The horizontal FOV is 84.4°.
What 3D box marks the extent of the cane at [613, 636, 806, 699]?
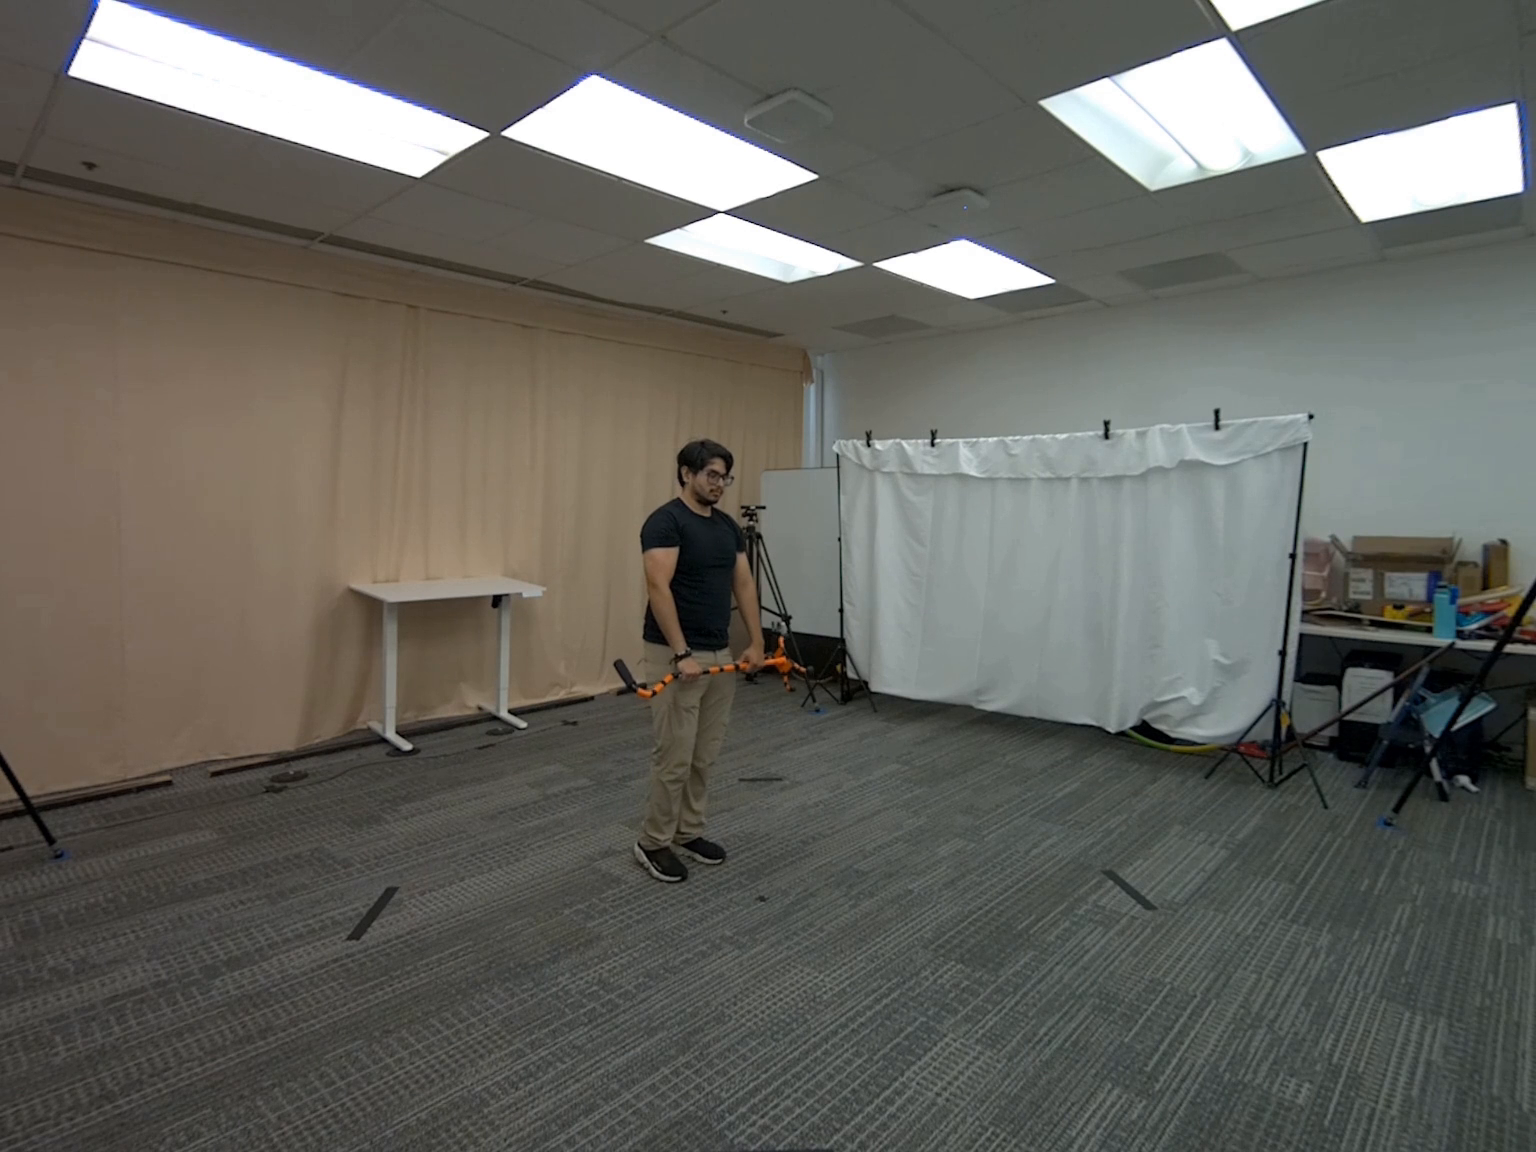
[{"bbox_3d":[-0.182,0.377,3.151,0.879,0.152,0.212,-2,47,-48],"label":"cane"}]
